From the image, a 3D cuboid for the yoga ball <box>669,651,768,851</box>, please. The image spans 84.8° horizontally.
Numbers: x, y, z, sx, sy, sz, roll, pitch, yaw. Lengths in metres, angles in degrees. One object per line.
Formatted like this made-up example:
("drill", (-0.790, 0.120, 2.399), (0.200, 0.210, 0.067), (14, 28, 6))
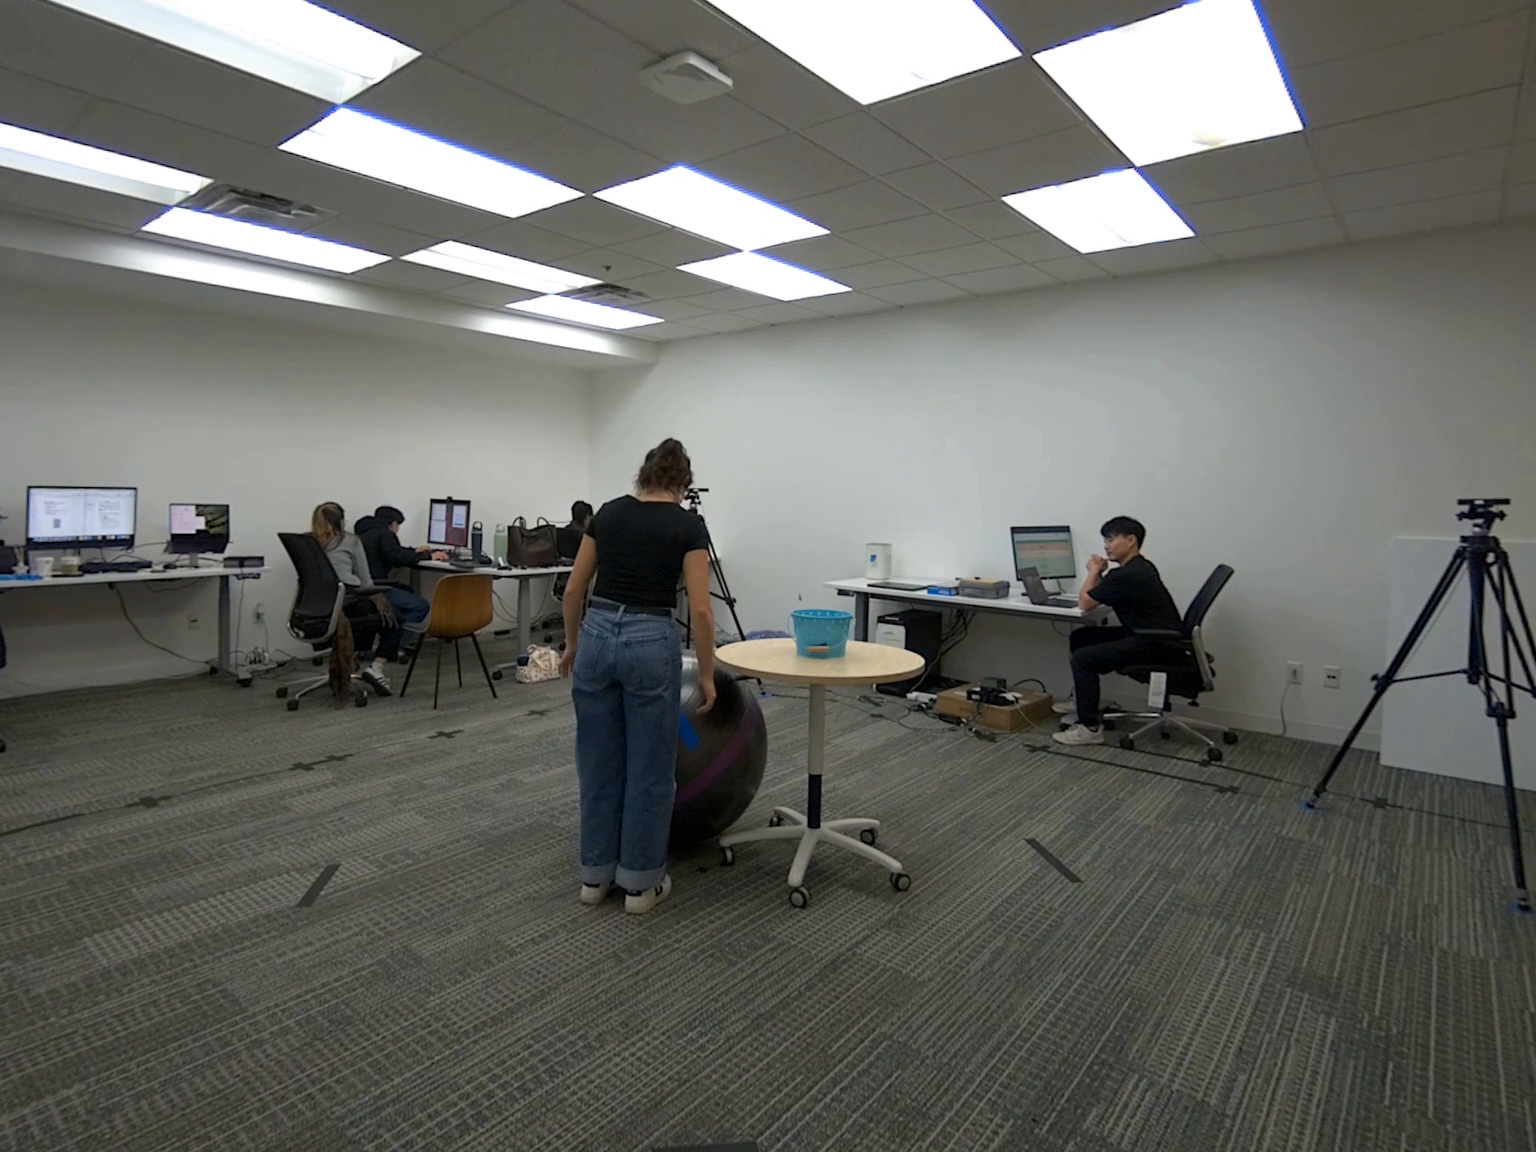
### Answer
("yoga ball", (-0.395, 0.682, 3.370), (0.757, 0.755, 0.762), (1, 4, -2))
